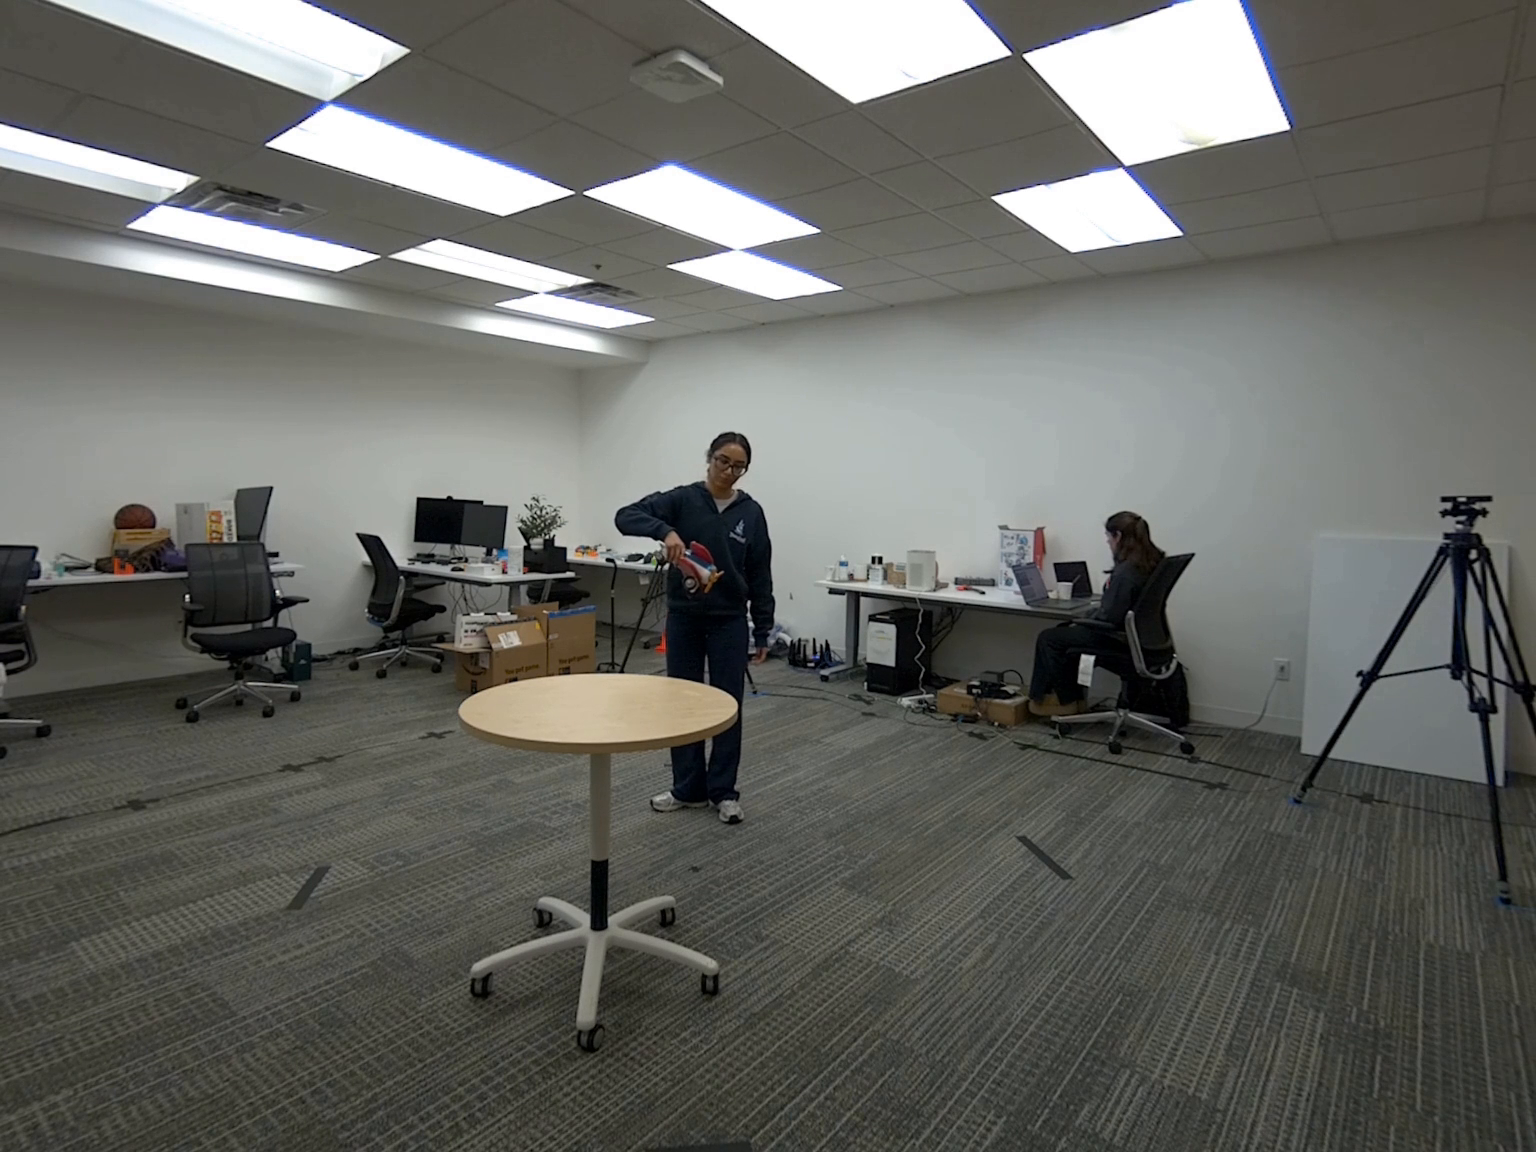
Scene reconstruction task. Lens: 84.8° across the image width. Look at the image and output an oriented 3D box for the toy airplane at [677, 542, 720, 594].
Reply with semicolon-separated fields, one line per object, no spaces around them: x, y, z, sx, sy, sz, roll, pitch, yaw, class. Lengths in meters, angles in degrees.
-0.329;-0.055;3.285;0.156;0.258;0.253;-41;4;-13;toy airplane
